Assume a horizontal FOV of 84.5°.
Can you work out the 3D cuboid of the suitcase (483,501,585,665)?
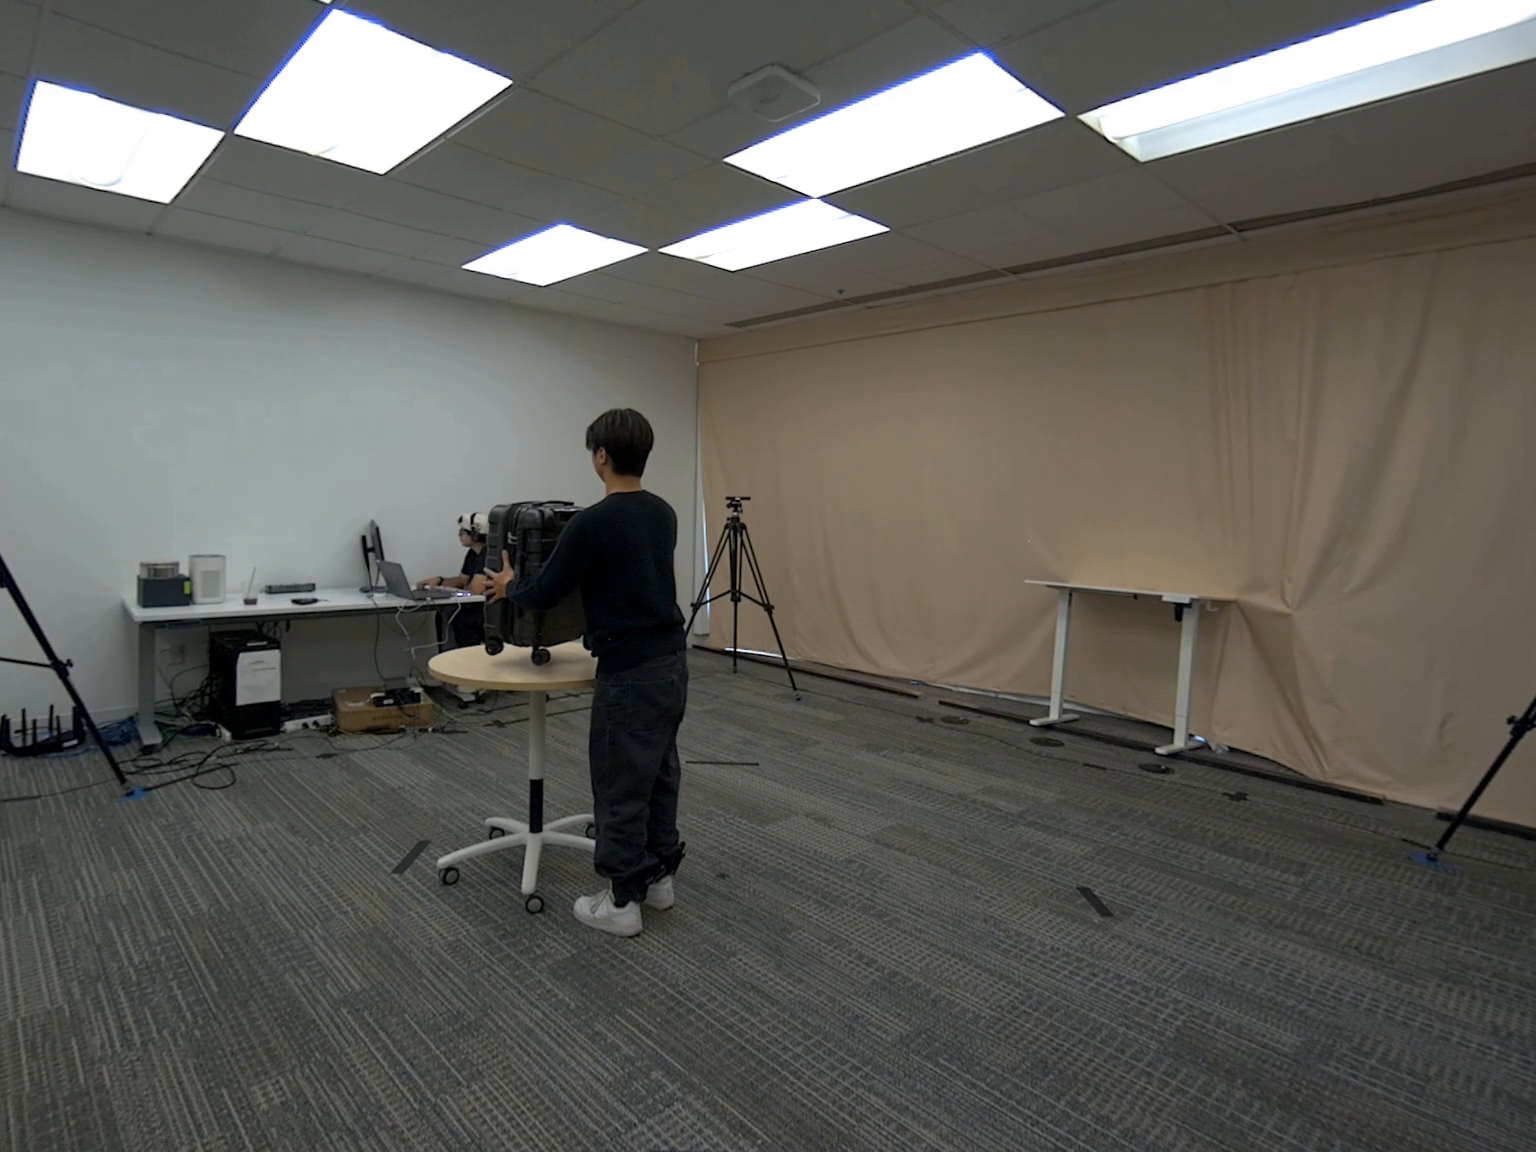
[{"bbox_3d":[-0.825,0.004,3.043,0.254,0.547,0.369,4,7,28],"label":"suitcase"}]
